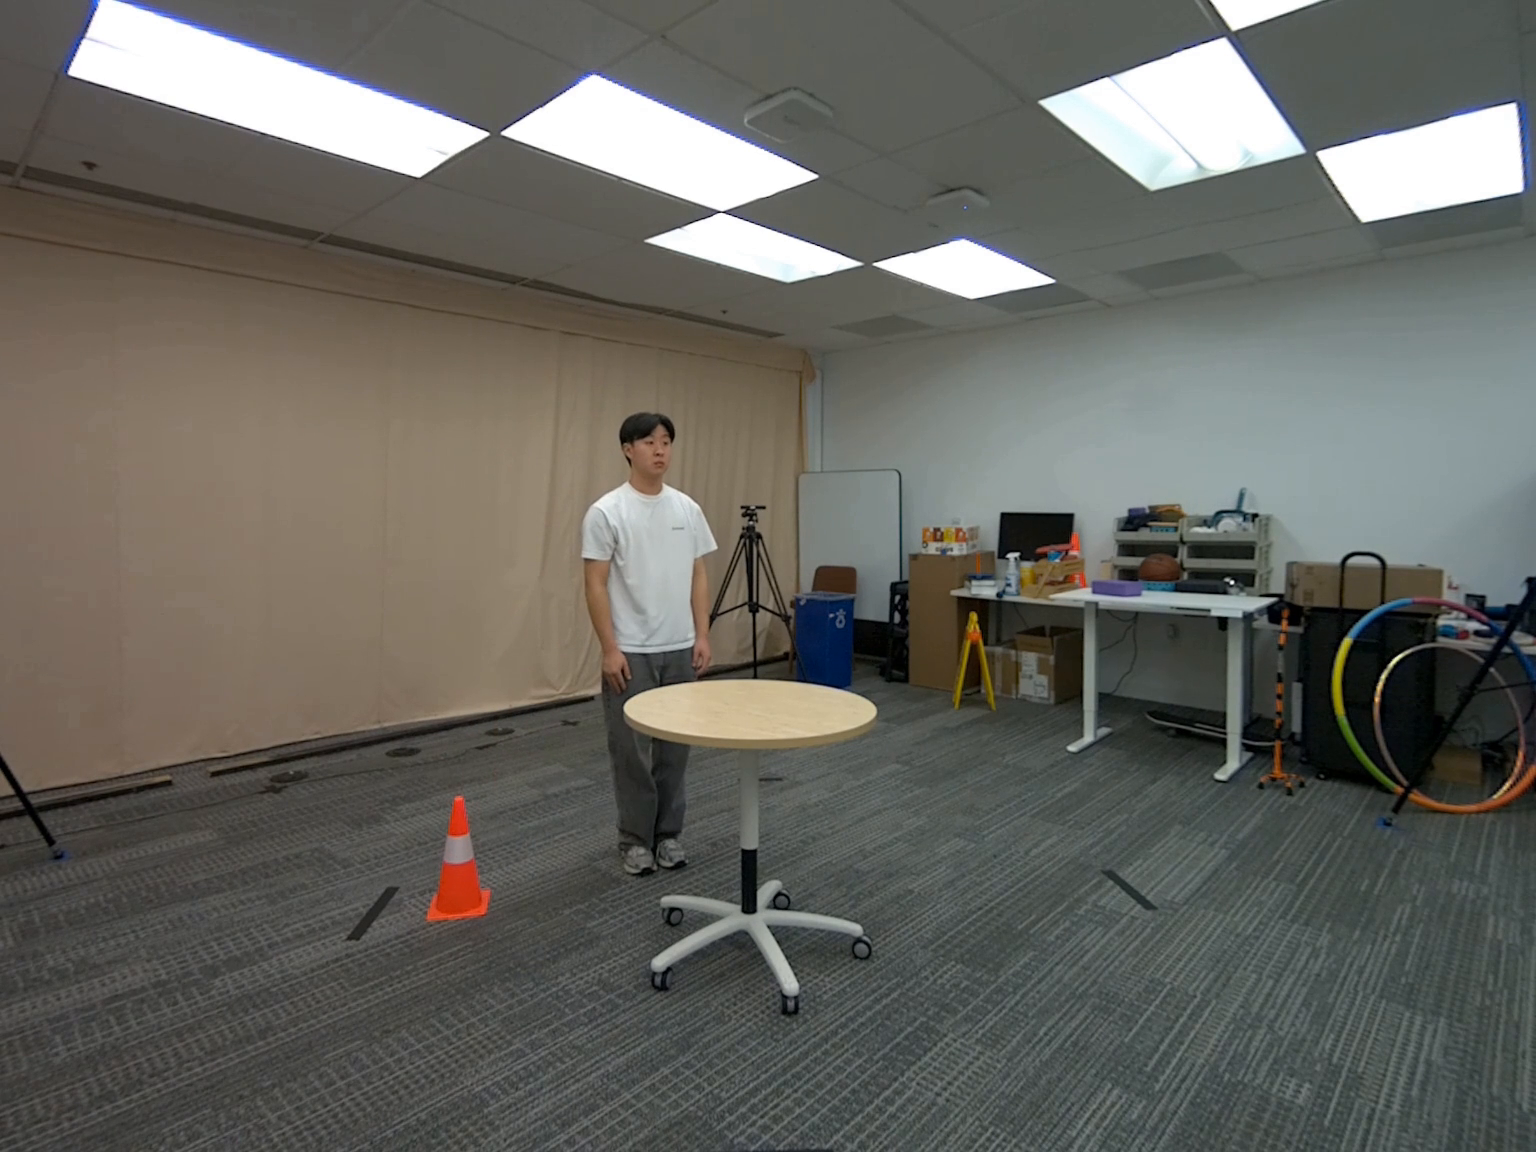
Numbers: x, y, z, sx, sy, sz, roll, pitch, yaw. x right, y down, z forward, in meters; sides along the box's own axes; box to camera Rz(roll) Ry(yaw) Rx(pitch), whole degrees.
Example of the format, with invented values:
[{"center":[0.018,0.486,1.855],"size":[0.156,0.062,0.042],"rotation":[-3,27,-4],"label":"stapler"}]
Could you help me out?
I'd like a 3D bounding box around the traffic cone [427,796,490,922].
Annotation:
[{"center":[-1.091,0.974,2.947],"size":[0.203,0.383,0.206],"rotation":[-2,2,-12],"label":"traffic cone"}]
